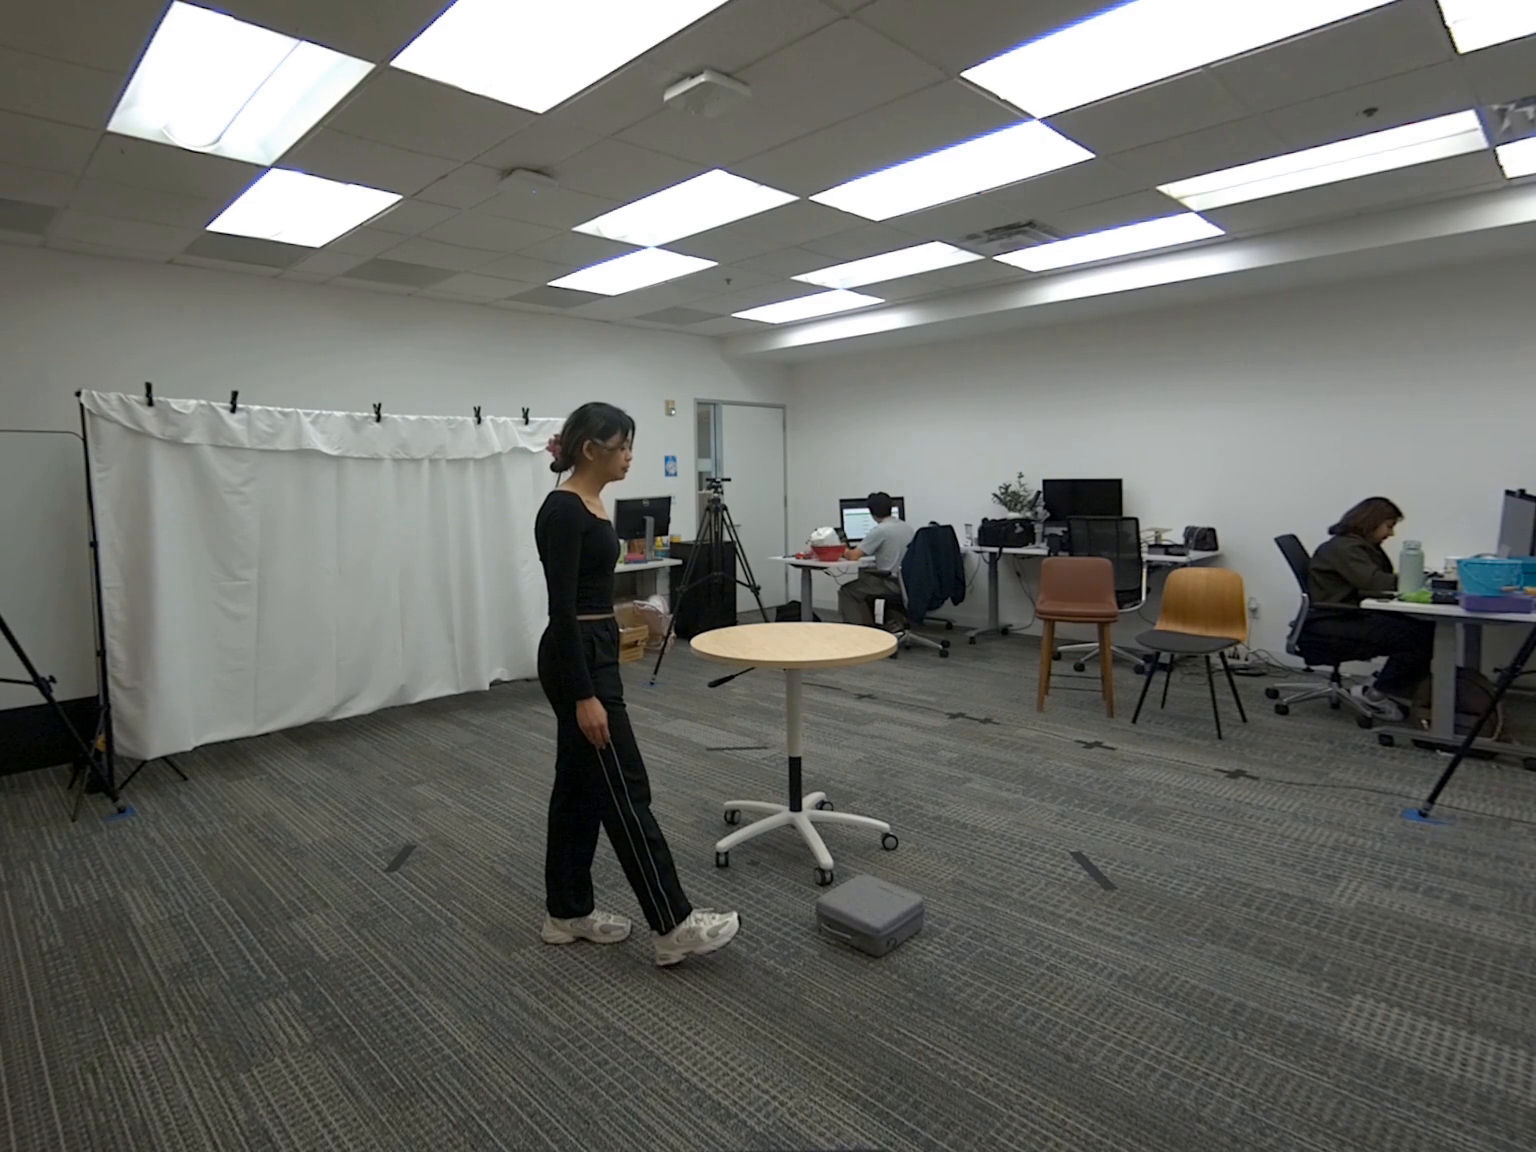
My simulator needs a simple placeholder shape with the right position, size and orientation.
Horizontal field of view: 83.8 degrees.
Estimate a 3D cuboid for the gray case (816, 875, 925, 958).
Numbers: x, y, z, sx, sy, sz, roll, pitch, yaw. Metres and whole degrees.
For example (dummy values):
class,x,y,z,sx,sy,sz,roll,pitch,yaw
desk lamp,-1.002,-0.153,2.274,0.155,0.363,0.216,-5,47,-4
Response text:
class,x,y,z,sx,sy,sz,roll,pitch,yaw
gray case,0.316,1.034,2.628,0.254,0.104,0.265,-9,10,-44
